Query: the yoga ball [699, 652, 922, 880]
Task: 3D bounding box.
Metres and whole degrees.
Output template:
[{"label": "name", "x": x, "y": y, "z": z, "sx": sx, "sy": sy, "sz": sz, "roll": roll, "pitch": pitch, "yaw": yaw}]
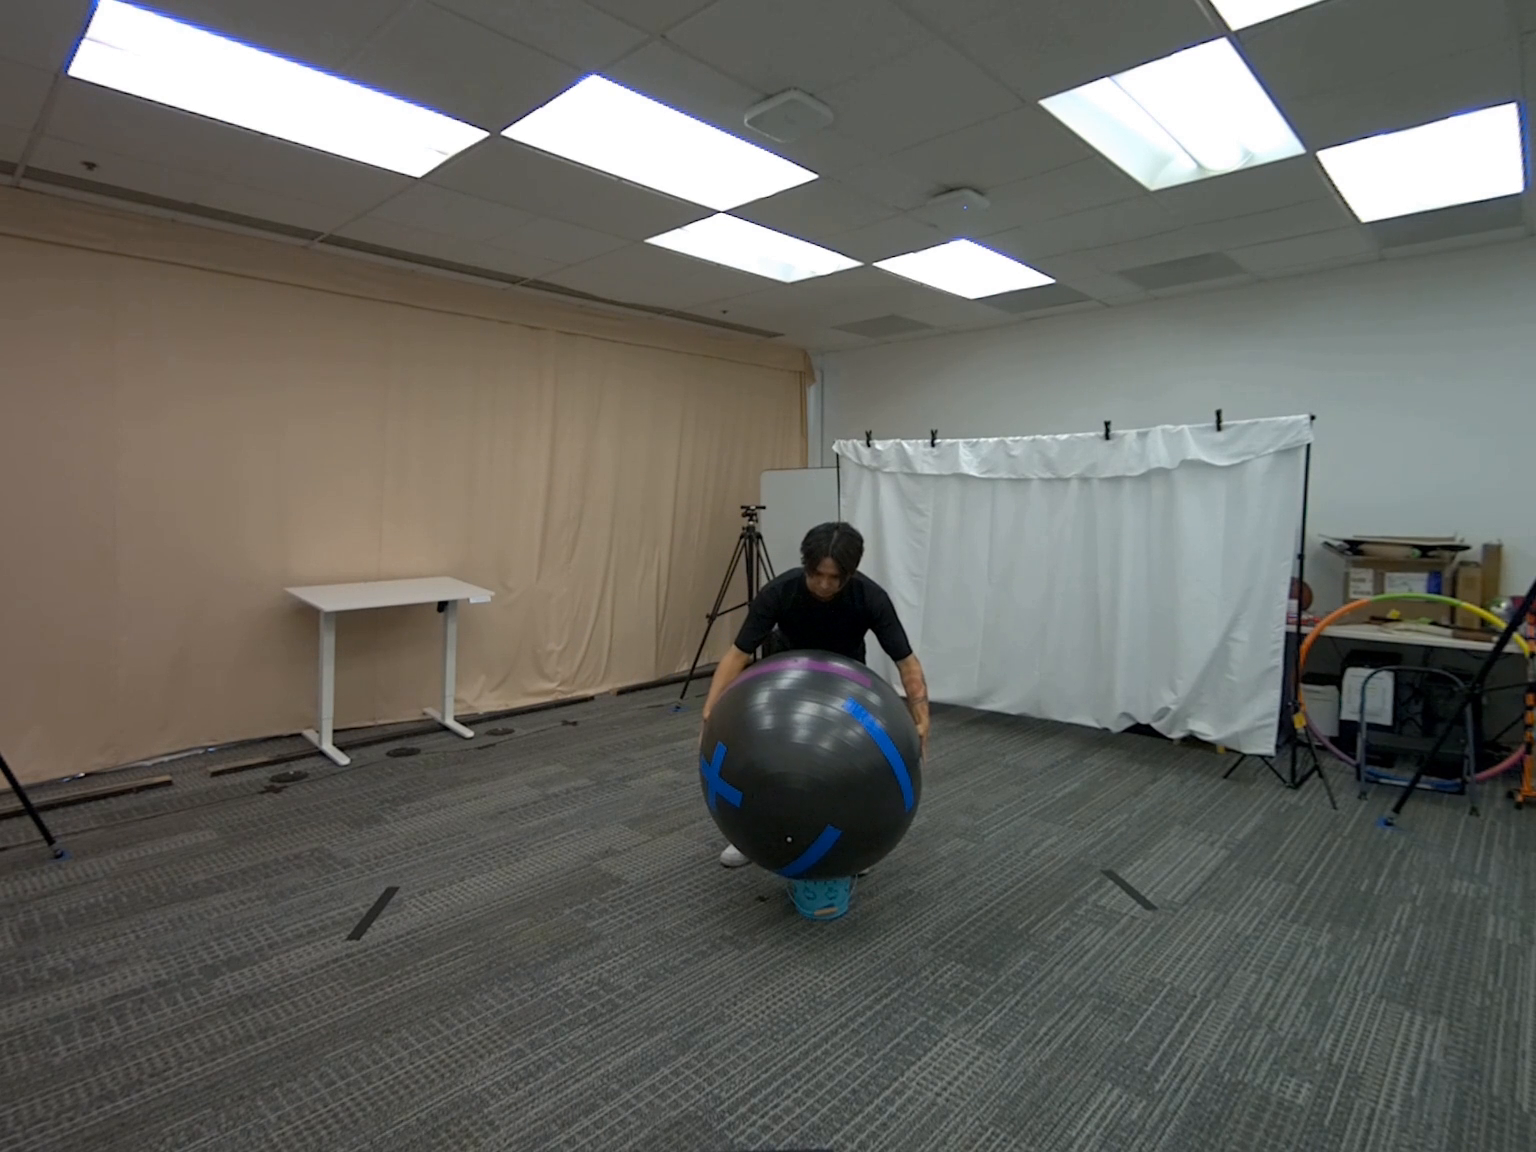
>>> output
[{"label": "yoga ball", "x": 0.146, "y": 0.631, "z": 2.869, "sx": 0.757, "sy": 0.756, "sz": 0.761, "roll": 0, "pitch": 4, "yaw": -2}]
